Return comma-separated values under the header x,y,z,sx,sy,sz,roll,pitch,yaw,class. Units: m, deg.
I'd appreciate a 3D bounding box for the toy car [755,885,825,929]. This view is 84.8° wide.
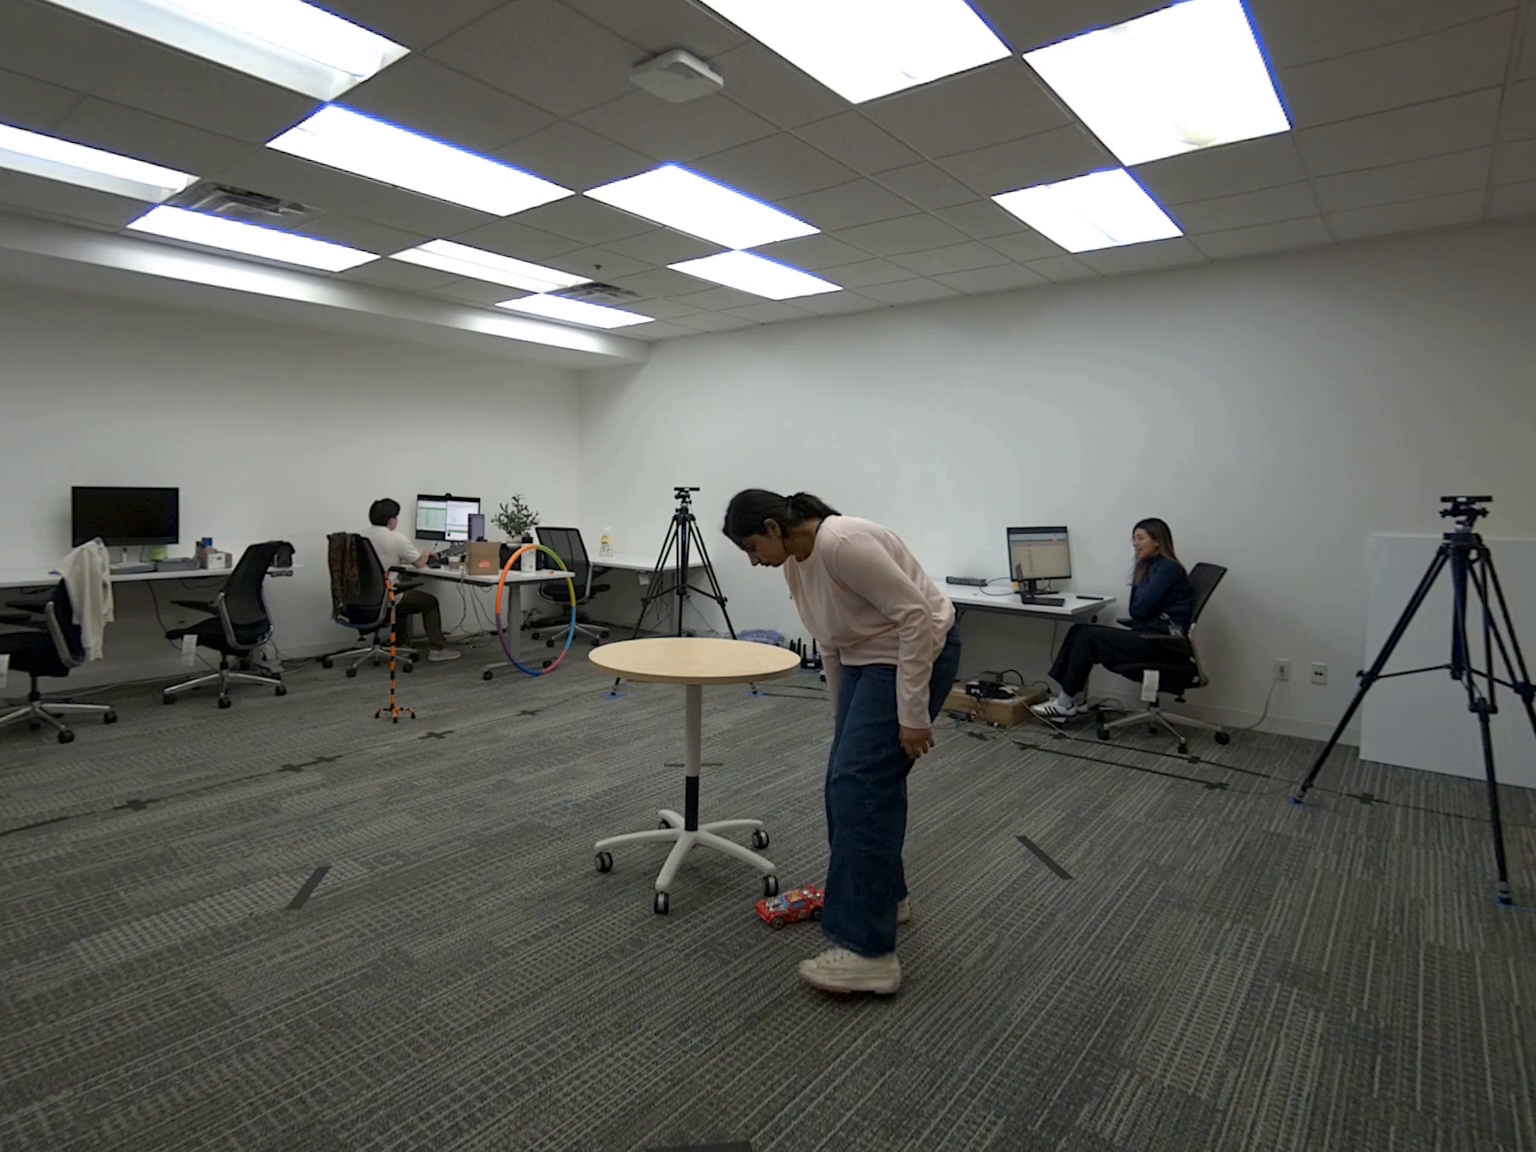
x,y,z,sx,sy,sz,roll,pitch,yaw,class
0.079,1.074,2.773,0.250,0.082,0.134,-12,10,-23,toy car
